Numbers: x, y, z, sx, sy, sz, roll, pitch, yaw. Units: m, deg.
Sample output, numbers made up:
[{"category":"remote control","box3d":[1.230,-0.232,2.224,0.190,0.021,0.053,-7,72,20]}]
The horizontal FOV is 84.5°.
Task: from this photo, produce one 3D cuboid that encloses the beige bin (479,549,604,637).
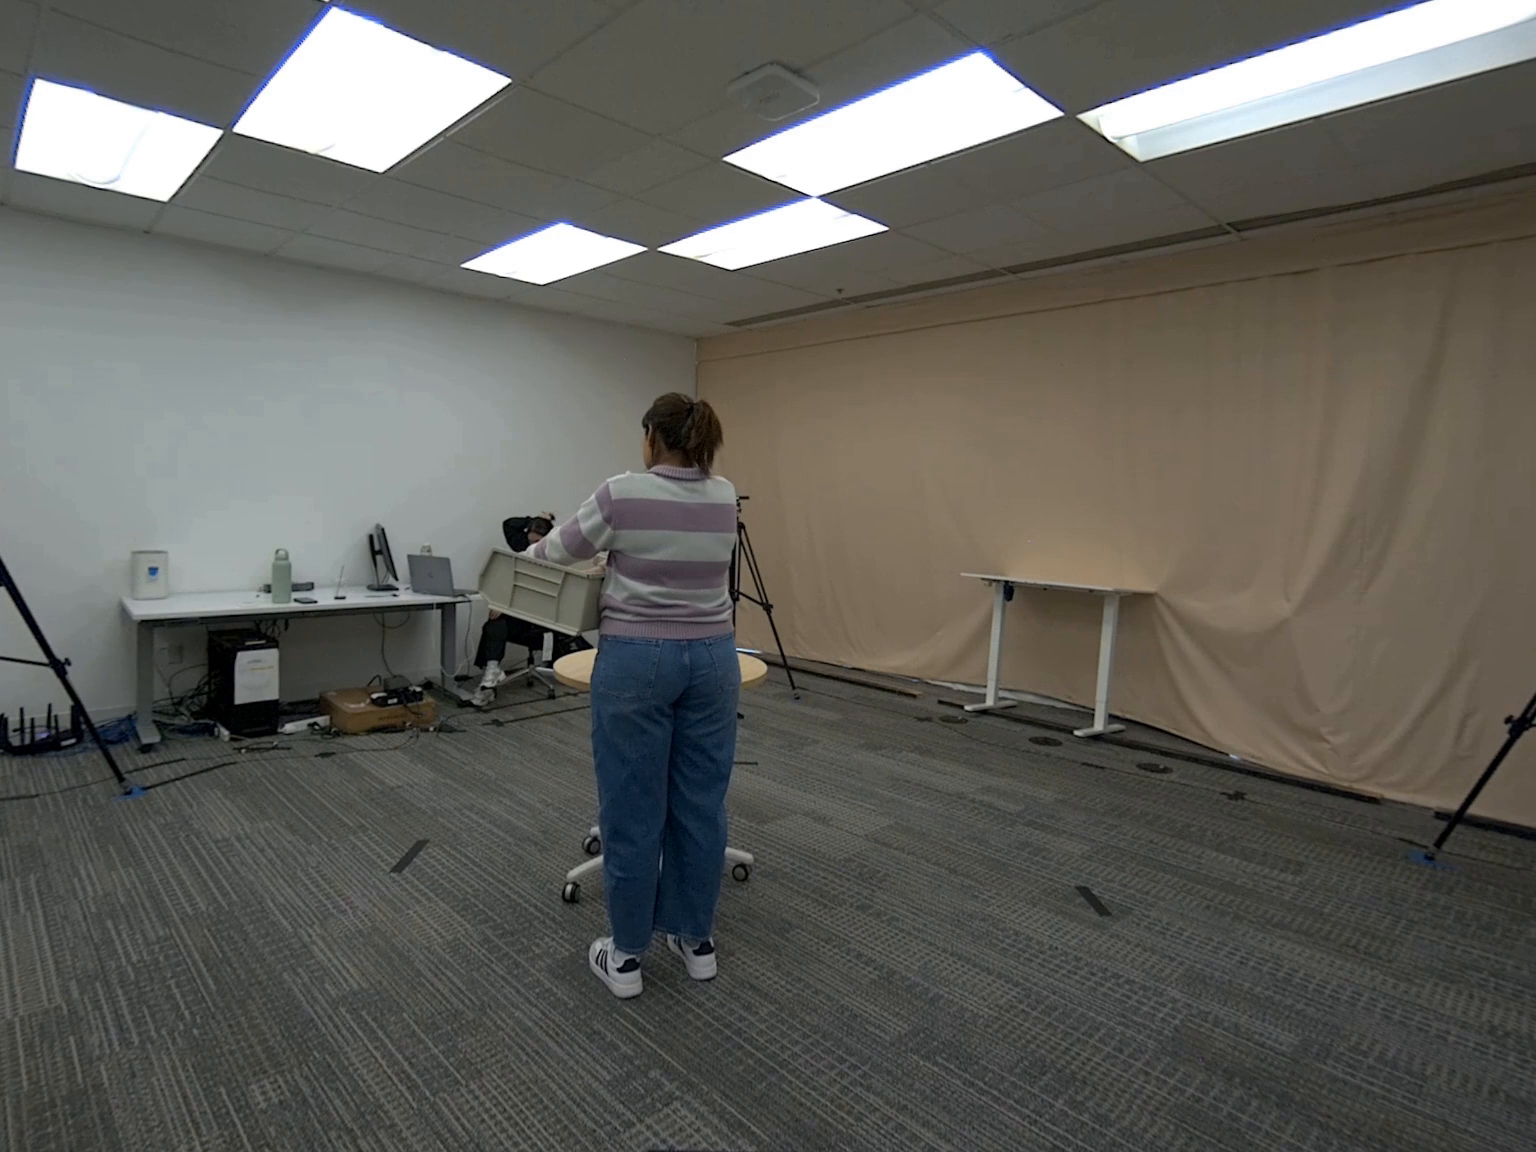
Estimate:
[{"category":"beige bin","box3d":[-0.593,0.033,2.538,0.385,0.188,0.416,14,9,21]}]
